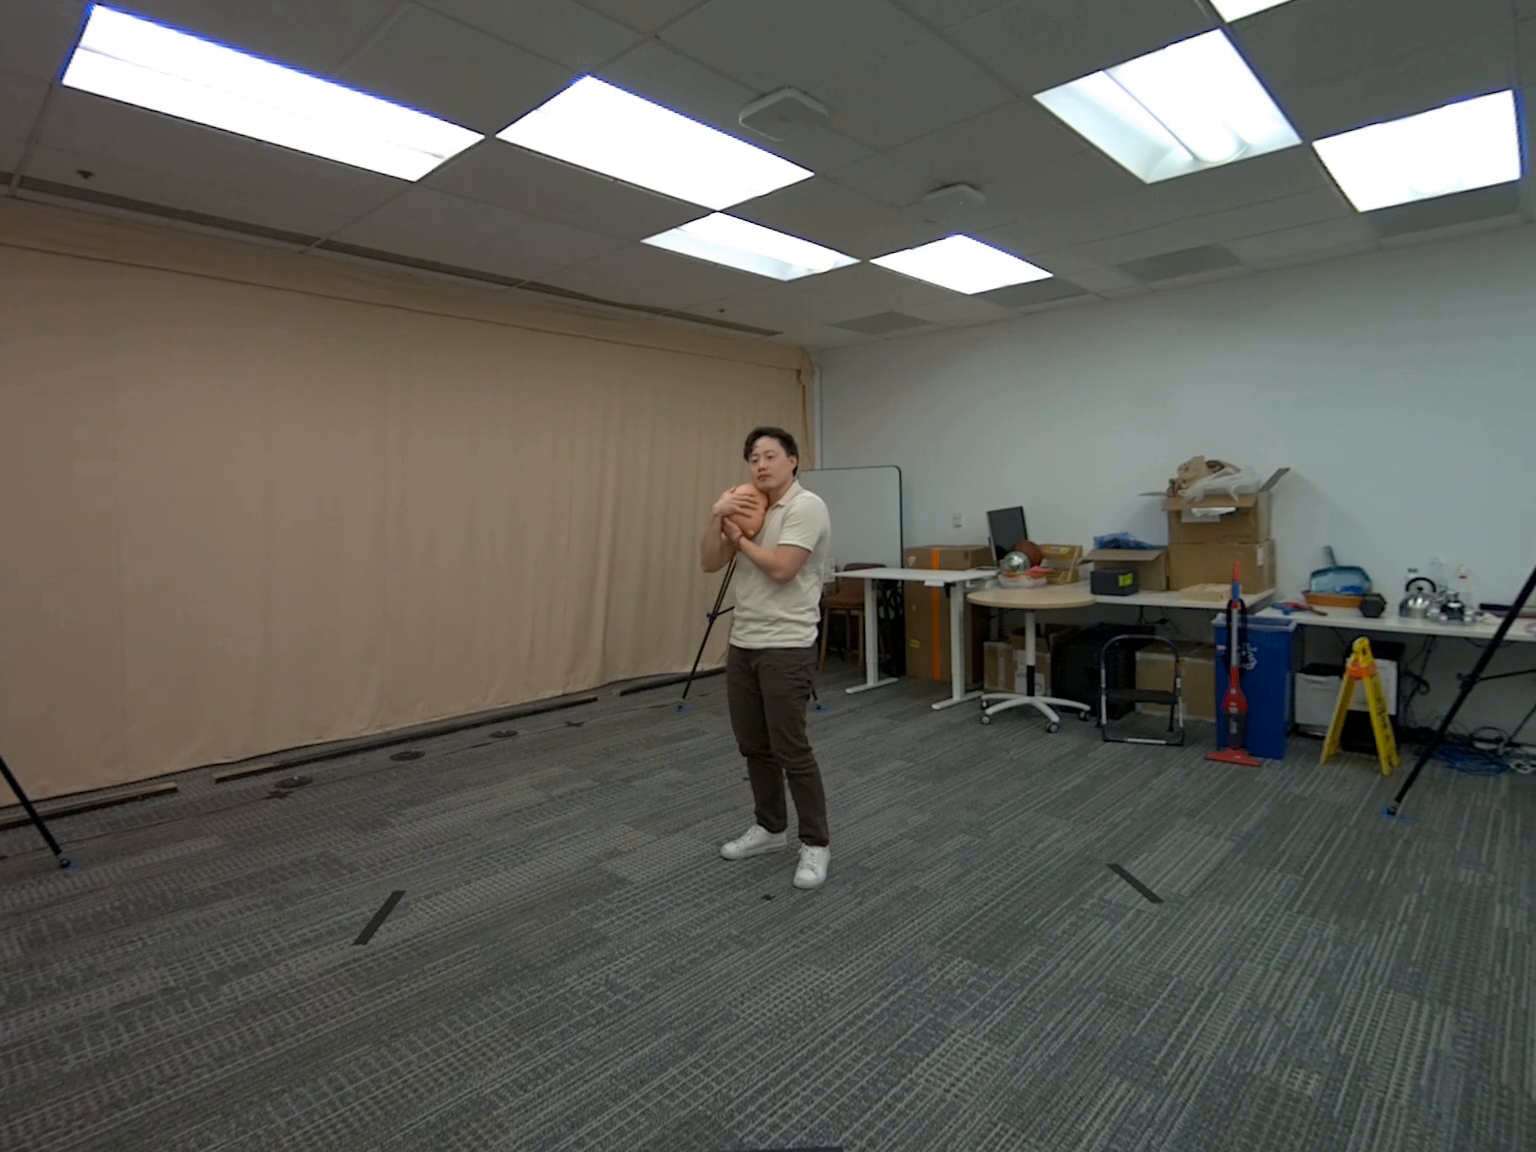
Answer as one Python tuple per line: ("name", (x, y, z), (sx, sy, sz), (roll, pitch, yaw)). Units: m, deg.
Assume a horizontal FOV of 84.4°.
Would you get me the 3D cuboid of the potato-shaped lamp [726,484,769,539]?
("potato-shaped lamp", (-0.074, -0.248, 3.238), (0.168, 0.198, 0.168), (31, -16, -17))
